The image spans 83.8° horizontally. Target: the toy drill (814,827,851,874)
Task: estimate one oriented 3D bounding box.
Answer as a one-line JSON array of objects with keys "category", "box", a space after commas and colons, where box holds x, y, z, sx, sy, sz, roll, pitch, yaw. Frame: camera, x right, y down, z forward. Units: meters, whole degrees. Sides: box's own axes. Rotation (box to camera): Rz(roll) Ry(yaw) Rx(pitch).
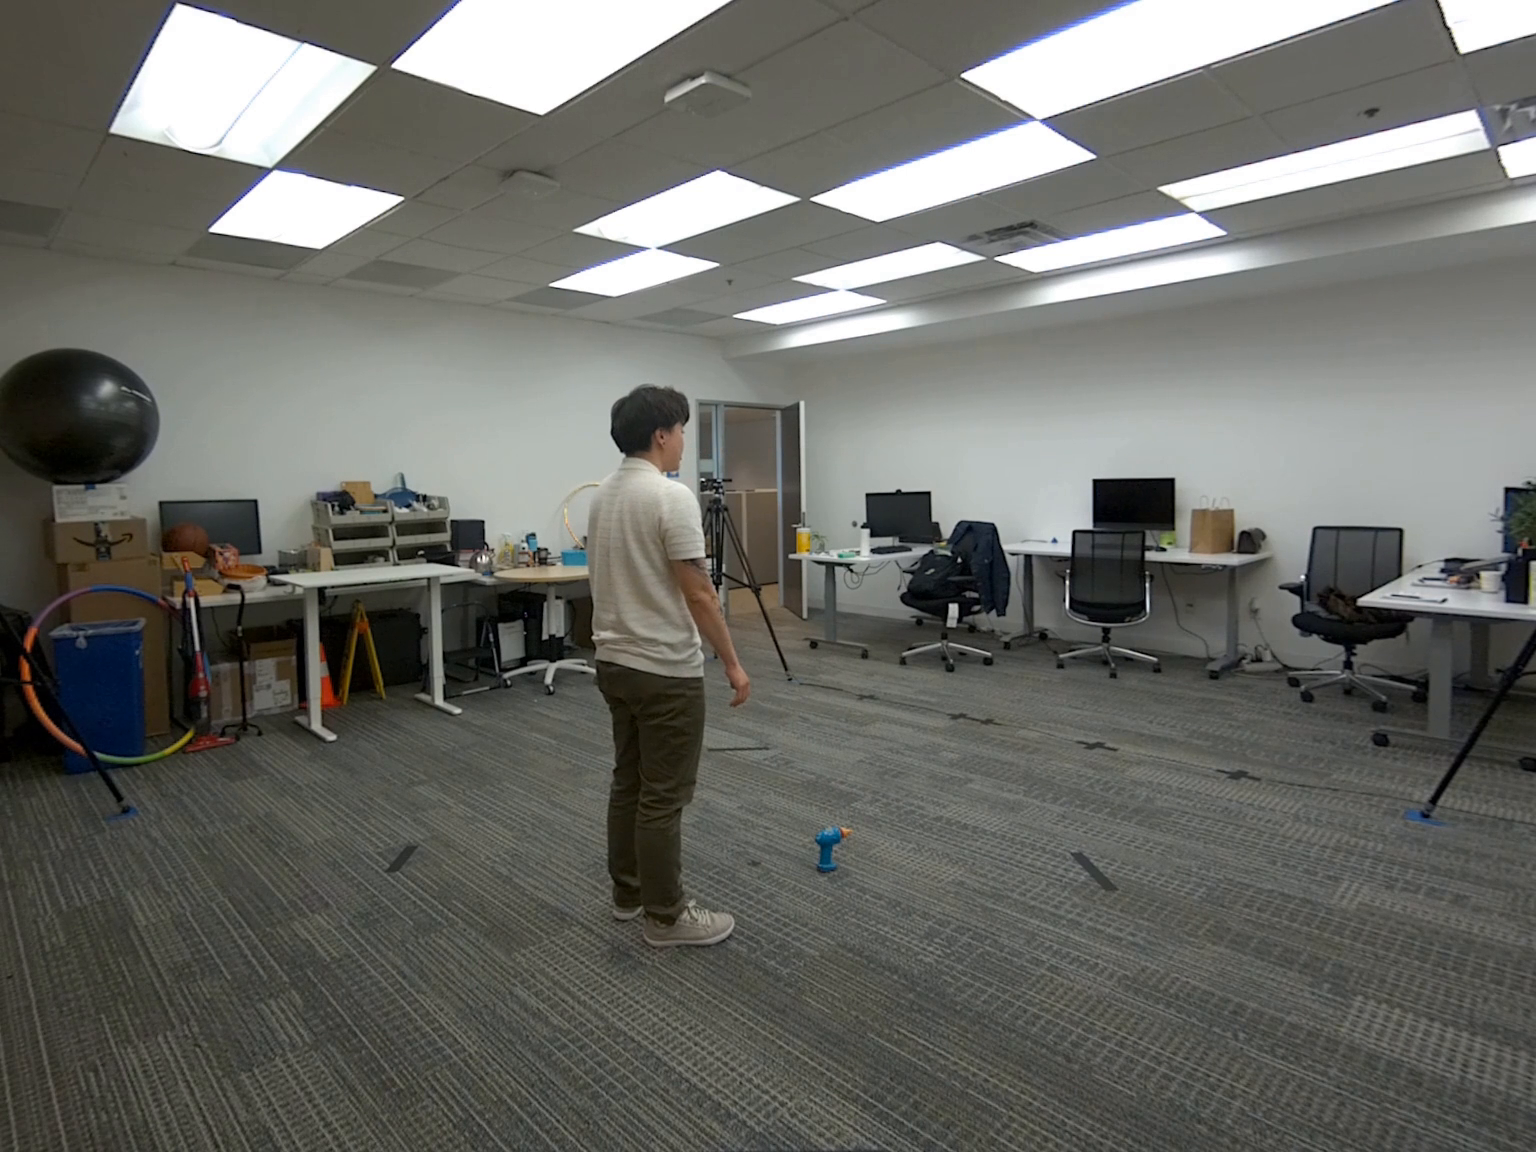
[{"category": "toy drill", "box": [0.242, 0.970, 3.069, 0.165, 0.146, 0.063, -3, 4, -35]}]
